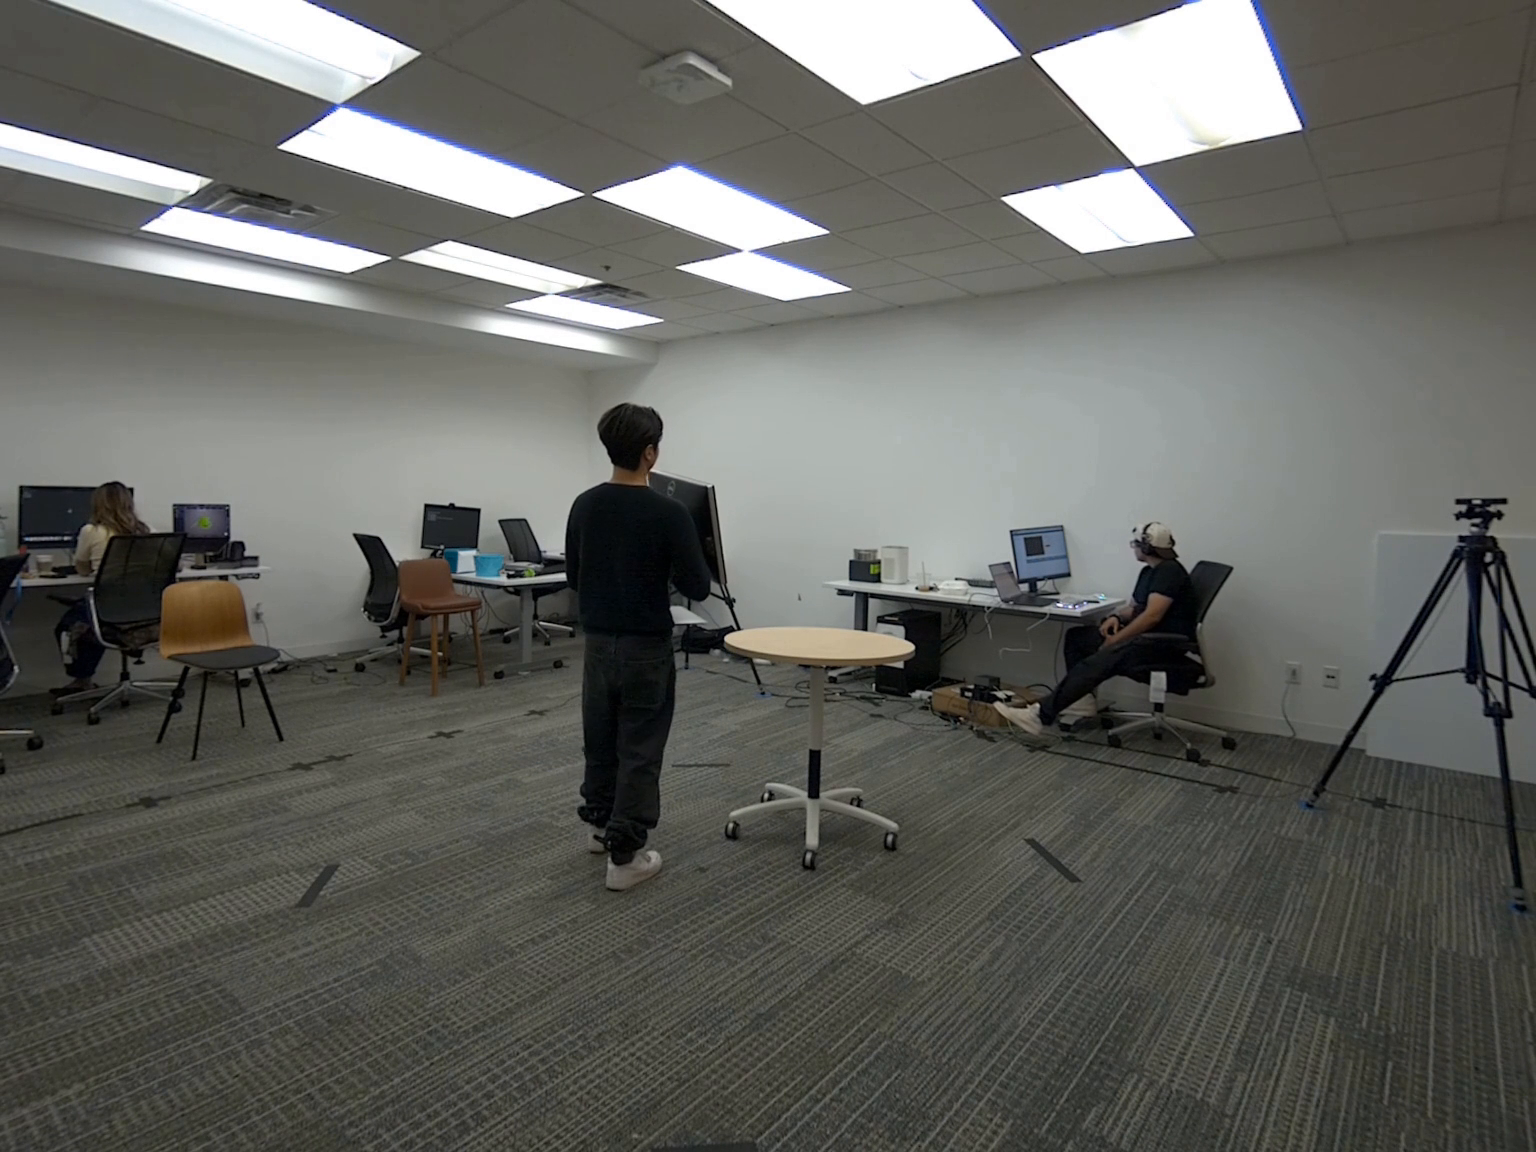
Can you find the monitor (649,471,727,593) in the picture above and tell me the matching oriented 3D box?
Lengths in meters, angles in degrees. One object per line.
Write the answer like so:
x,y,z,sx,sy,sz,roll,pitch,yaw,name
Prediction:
-0.358,-0.110,3.202,0.169,0.513,0.549,4,7,-32,monitor
